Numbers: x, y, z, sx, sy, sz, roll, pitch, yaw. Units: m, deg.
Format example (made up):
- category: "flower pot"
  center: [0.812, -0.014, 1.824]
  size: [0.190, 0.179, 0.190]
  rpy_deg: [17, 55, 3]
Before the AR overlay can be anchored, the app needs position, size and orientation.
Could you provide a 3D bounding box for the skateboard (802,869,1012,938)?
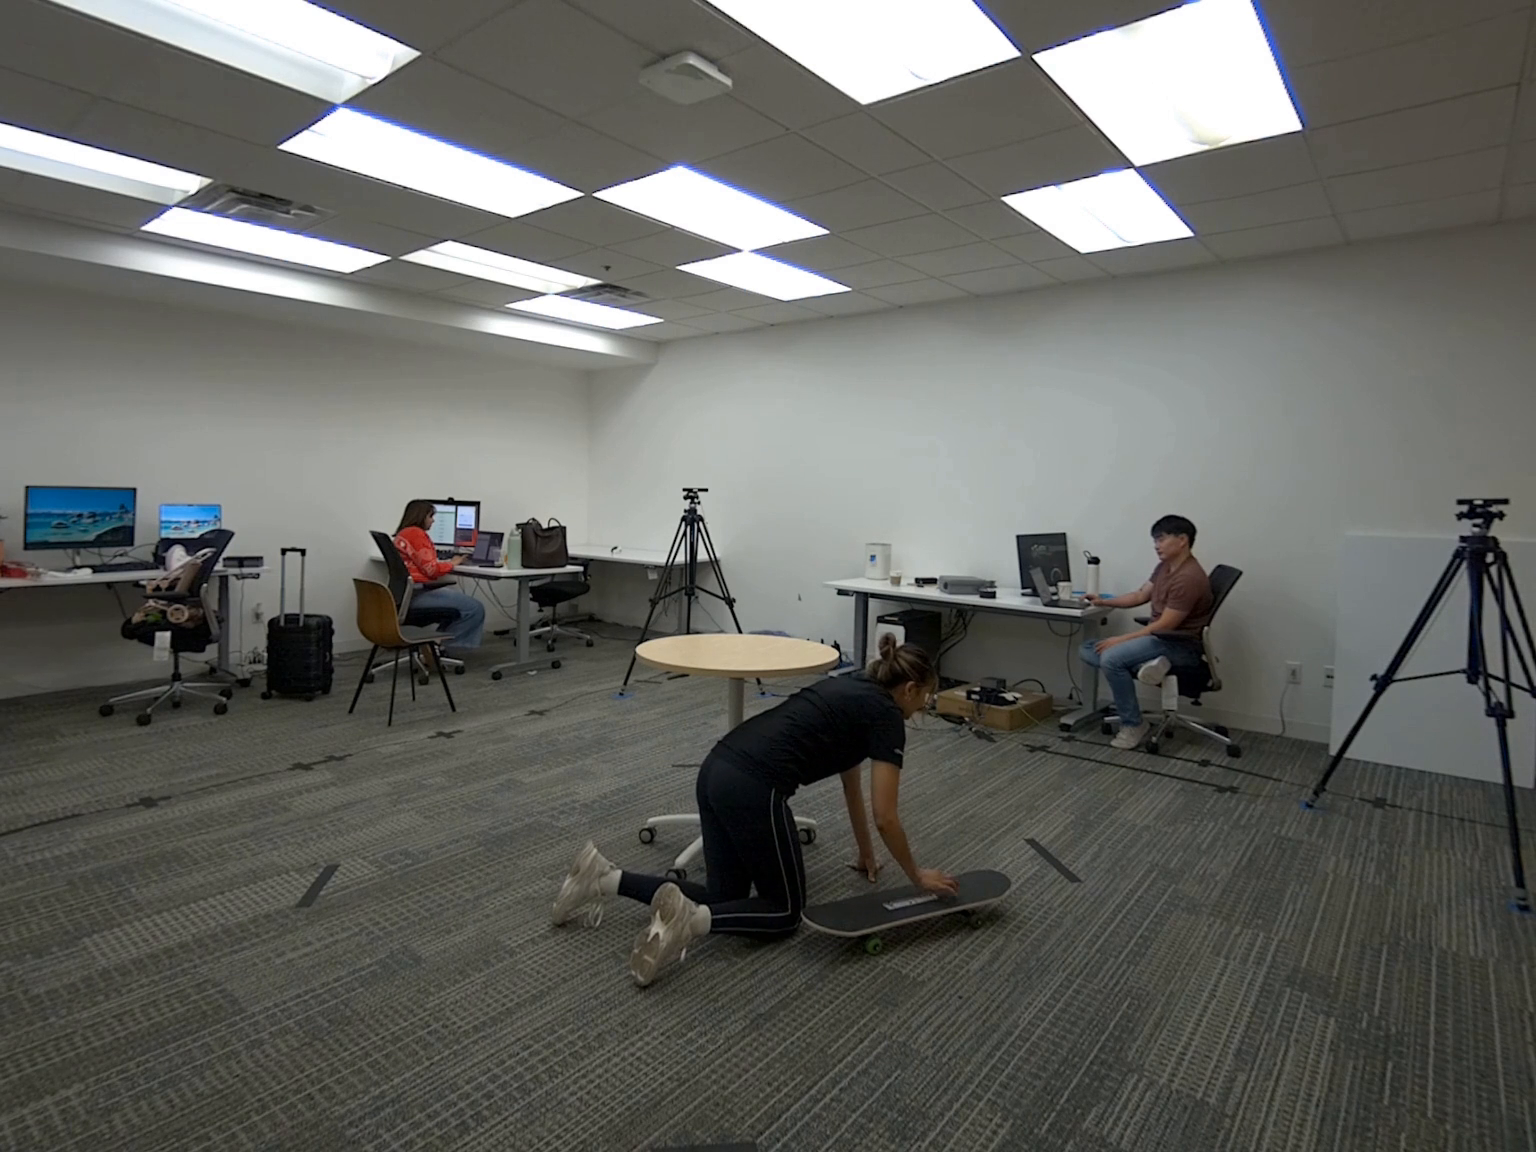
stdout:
- category: "skateboard"
  center: [0.452, 1.068, 2.716]
  size: [0.766, 0.110, 0.199]
  rpy_deg: [-2, 5, -27]
